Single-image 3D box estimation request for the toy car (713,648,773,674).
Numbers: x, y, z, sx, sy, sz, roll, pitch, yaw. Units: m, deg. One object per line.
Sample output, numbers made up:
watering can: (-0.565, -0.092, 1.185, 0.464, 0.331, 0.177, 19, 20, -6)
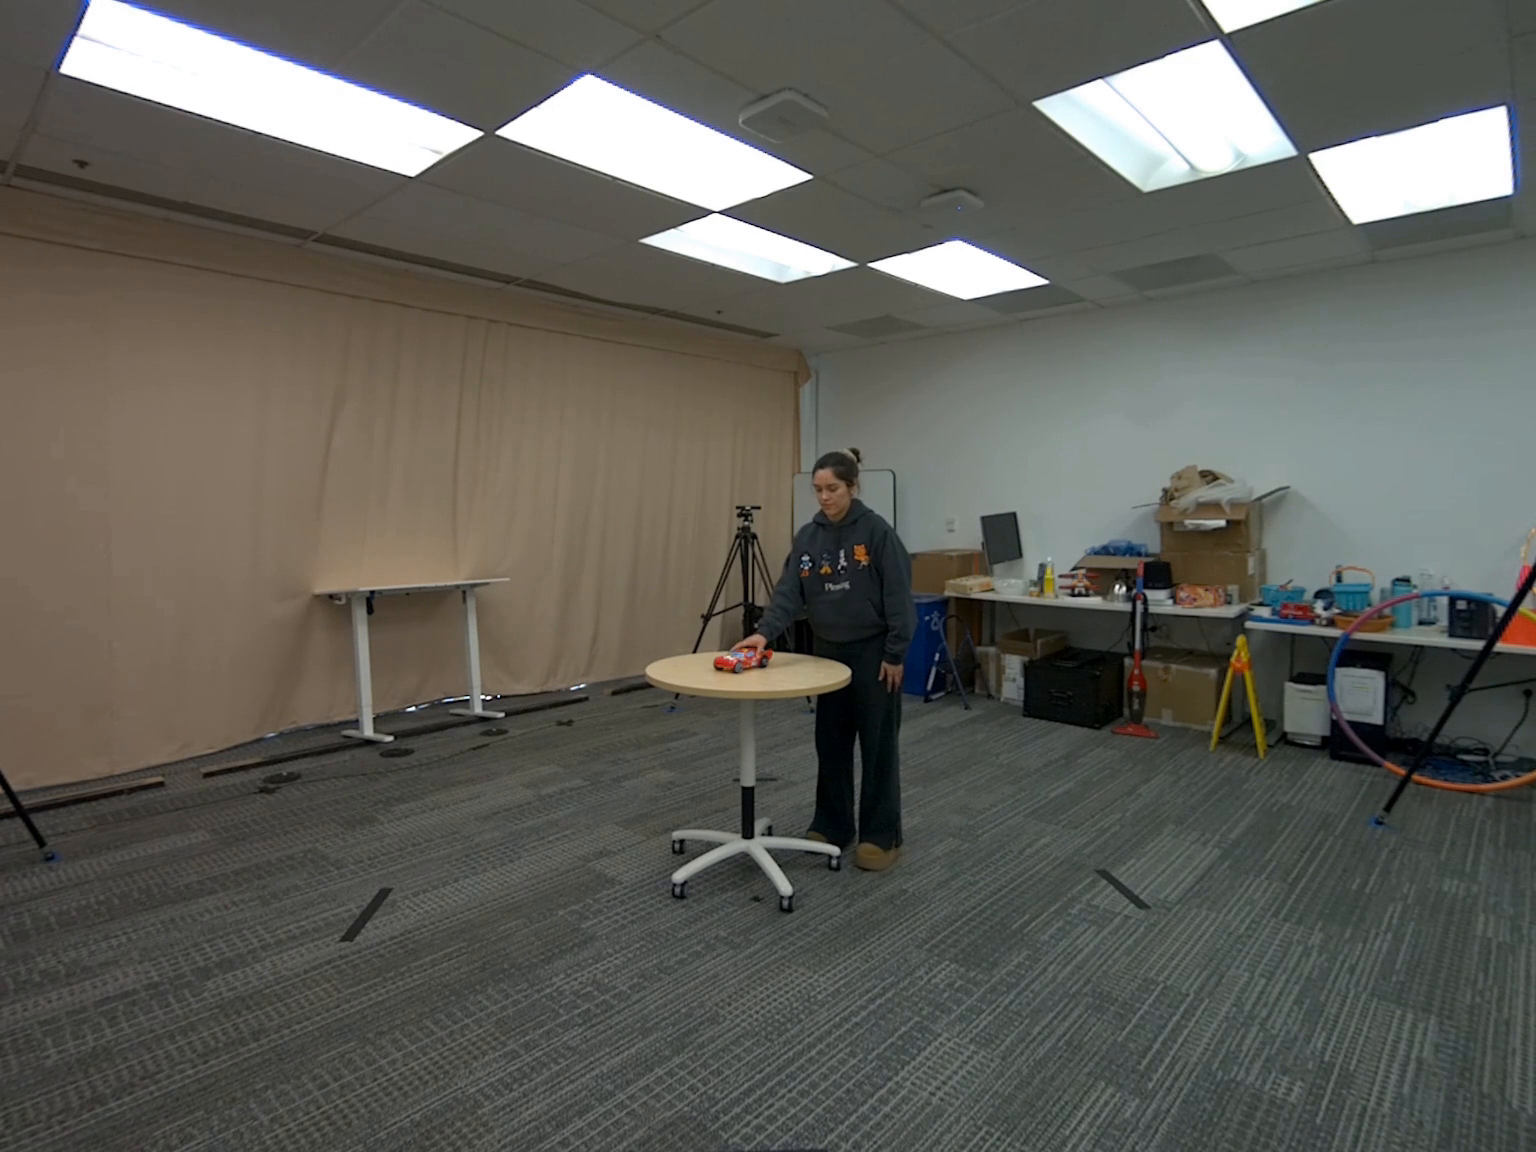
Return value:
toy car: (-0.072, 0.314, 3.163, 0.134, 0.082, 0.248, 3, 16, 42)
